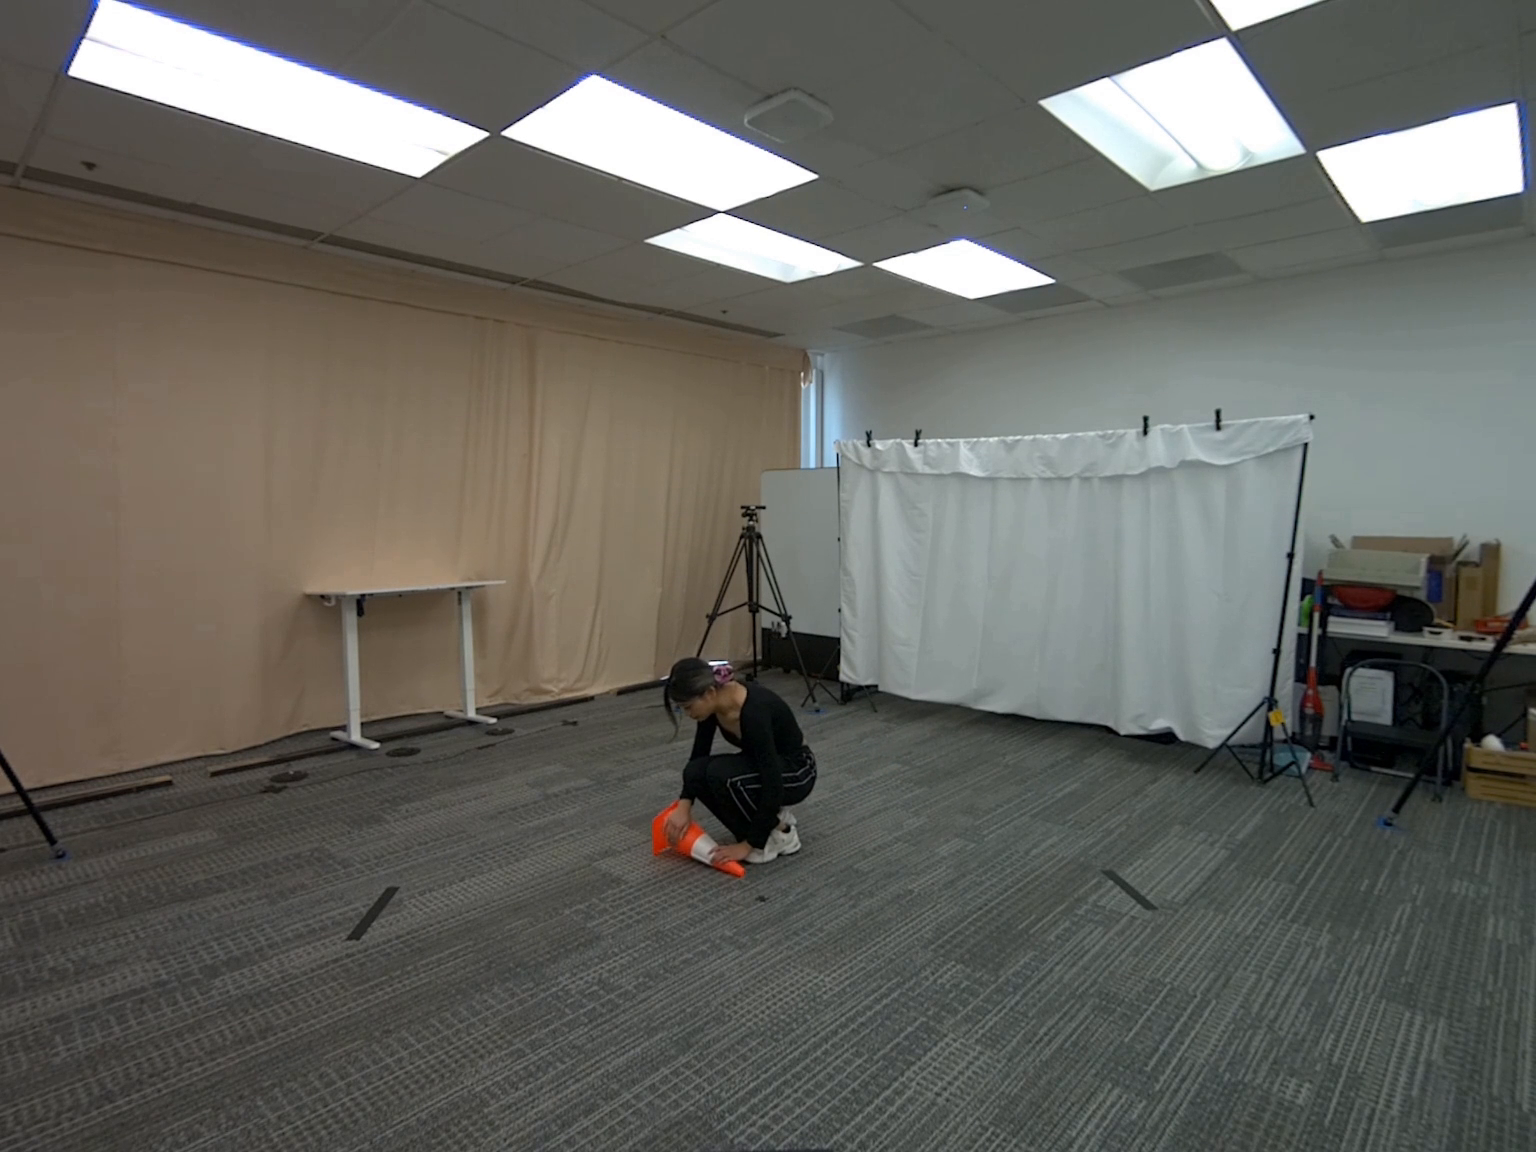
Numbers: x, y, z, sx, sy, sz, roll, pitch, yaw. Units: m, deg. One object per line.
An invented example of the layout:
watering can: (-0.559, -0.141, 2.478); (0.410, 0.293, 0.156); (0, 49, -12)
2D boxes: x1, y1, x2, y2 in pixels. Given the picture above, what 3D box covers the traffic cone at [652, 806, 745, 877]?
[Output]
traffic cone: (-0.247, 1.069, 3.276); (0.397, 0.200, 0.201); (22, 35, 34)
